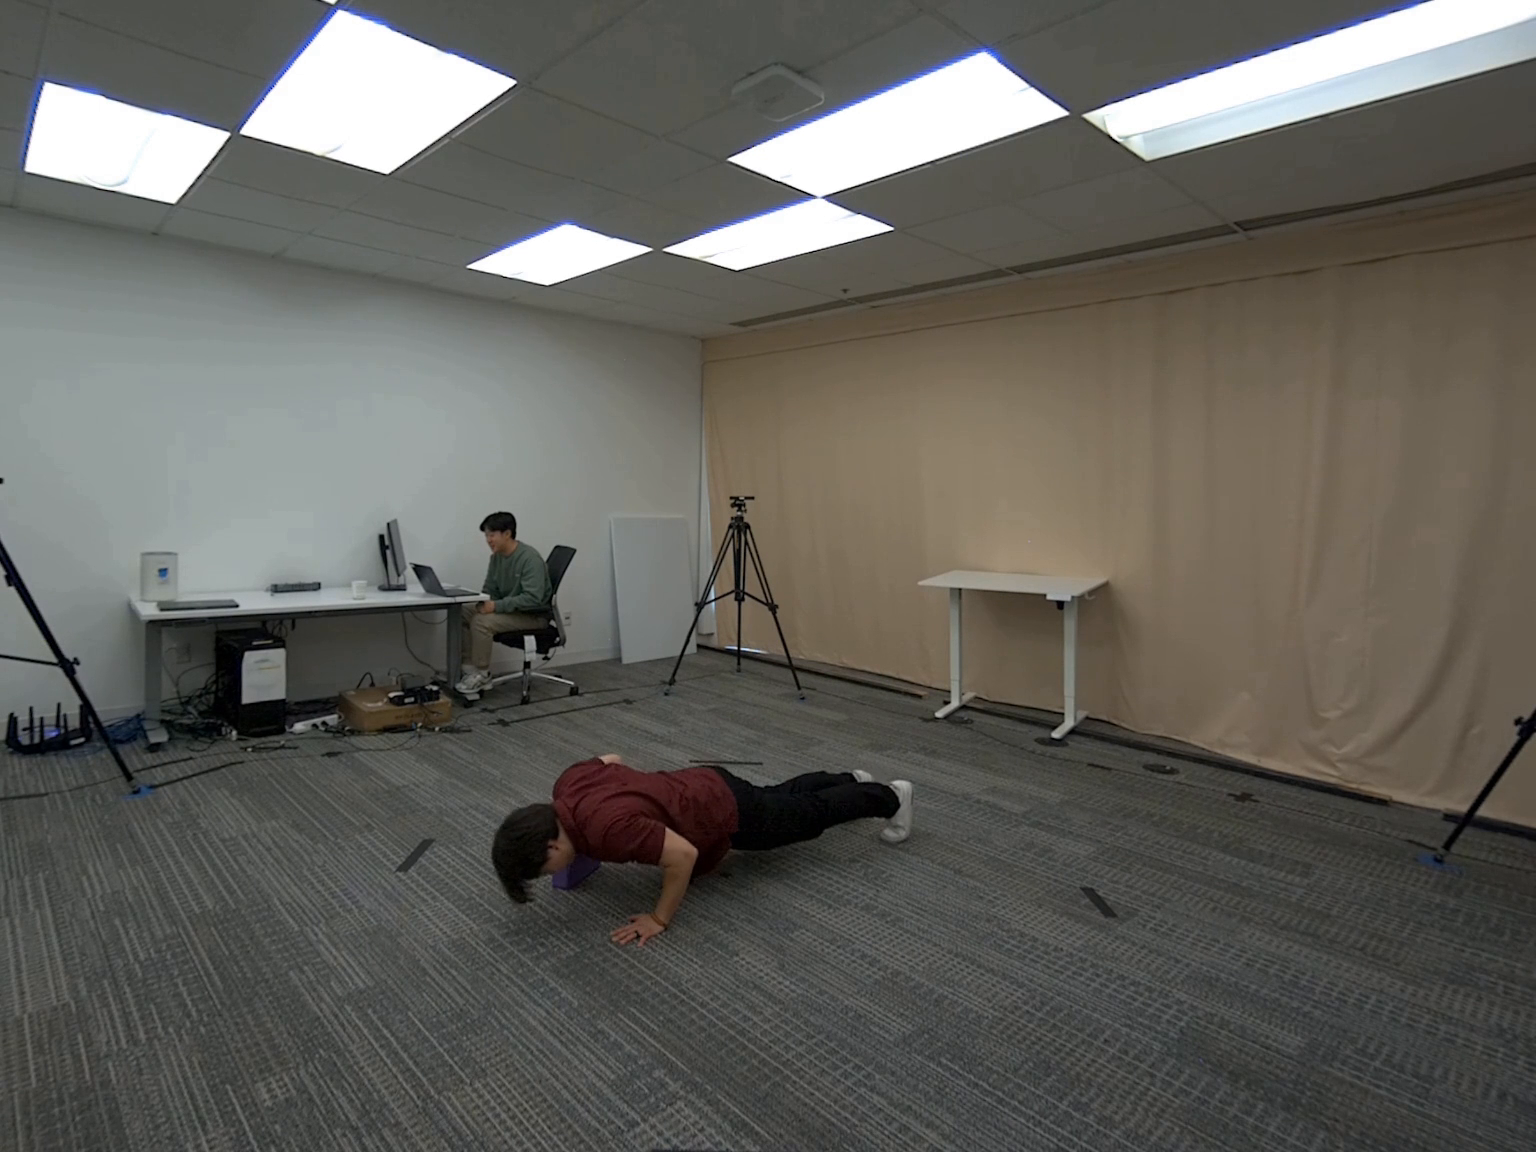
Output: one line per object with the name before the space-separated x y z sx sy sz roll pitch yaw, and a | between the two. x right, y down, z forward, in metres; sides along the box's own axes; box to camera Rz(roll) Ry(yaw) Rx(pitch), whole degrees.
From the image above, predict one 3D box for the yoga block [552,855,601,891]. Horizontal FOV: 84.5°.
yoga block | -0.686 1.018 3.063 0.077 0.148 0.226 5 4 17
